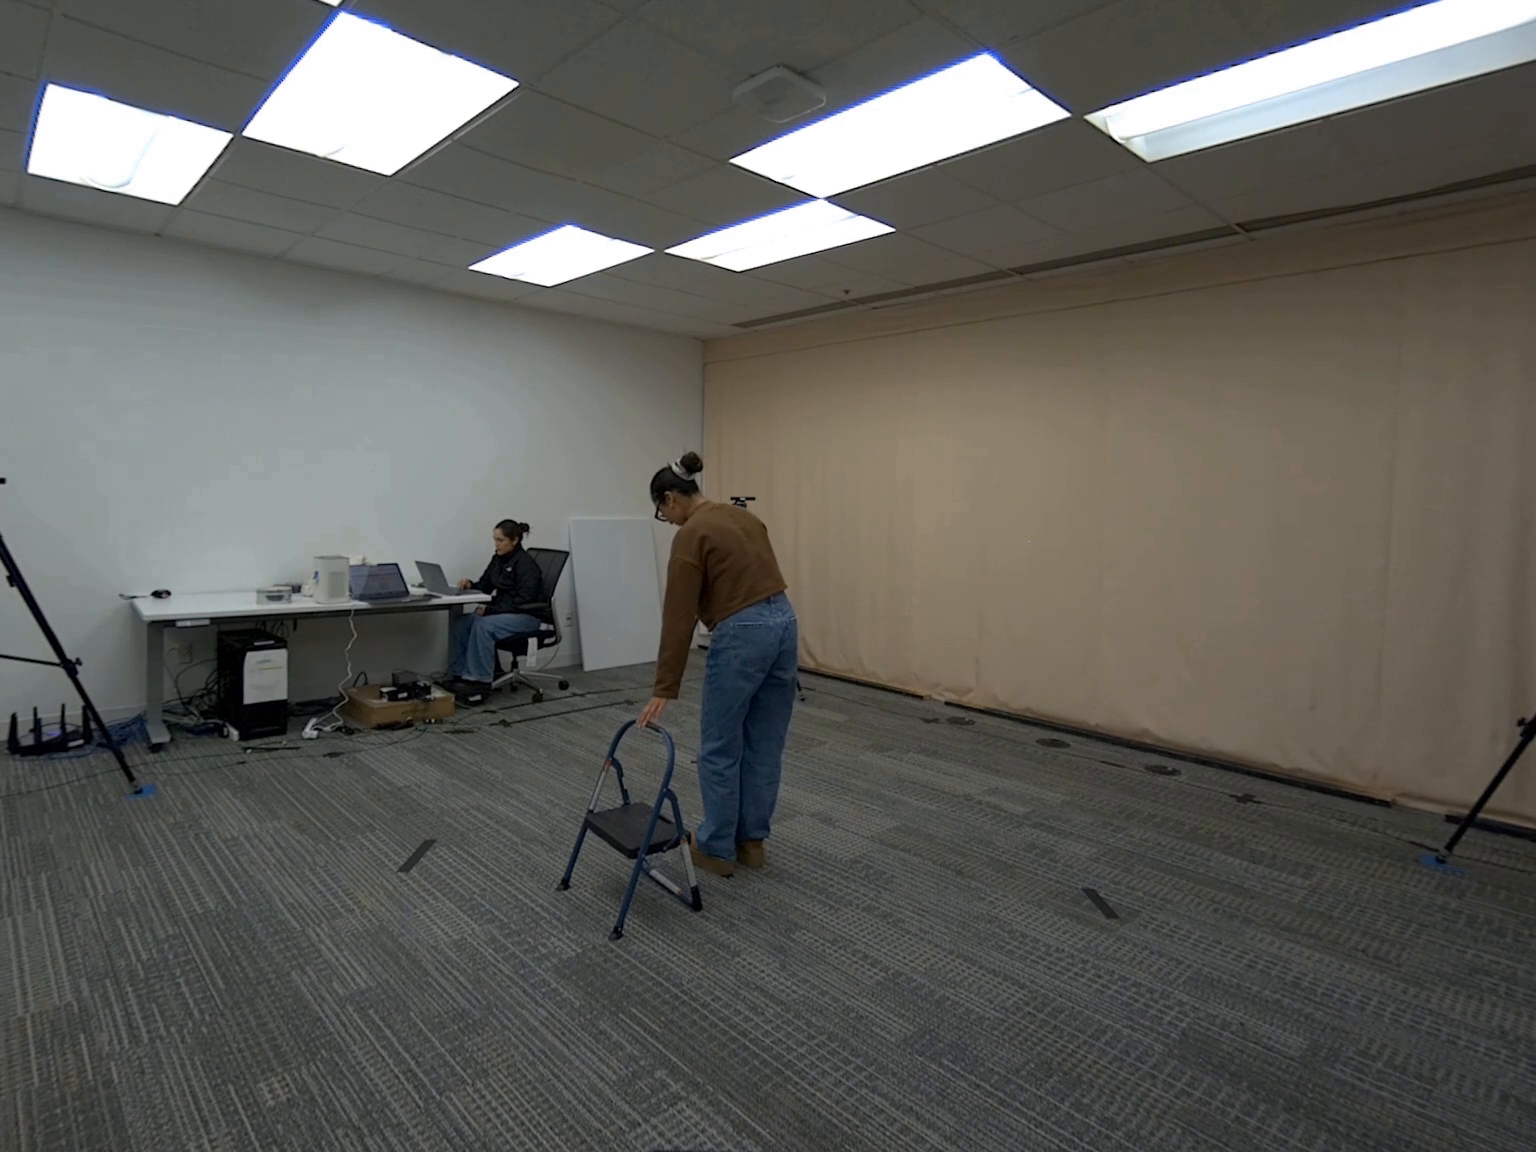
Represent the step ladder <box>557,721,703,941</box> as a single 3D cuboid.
[{"bbox_3d":[-0.474,0.814,2.885,0.341,0.605,0.441,0,4,-37],"label":"step ladder"}]
